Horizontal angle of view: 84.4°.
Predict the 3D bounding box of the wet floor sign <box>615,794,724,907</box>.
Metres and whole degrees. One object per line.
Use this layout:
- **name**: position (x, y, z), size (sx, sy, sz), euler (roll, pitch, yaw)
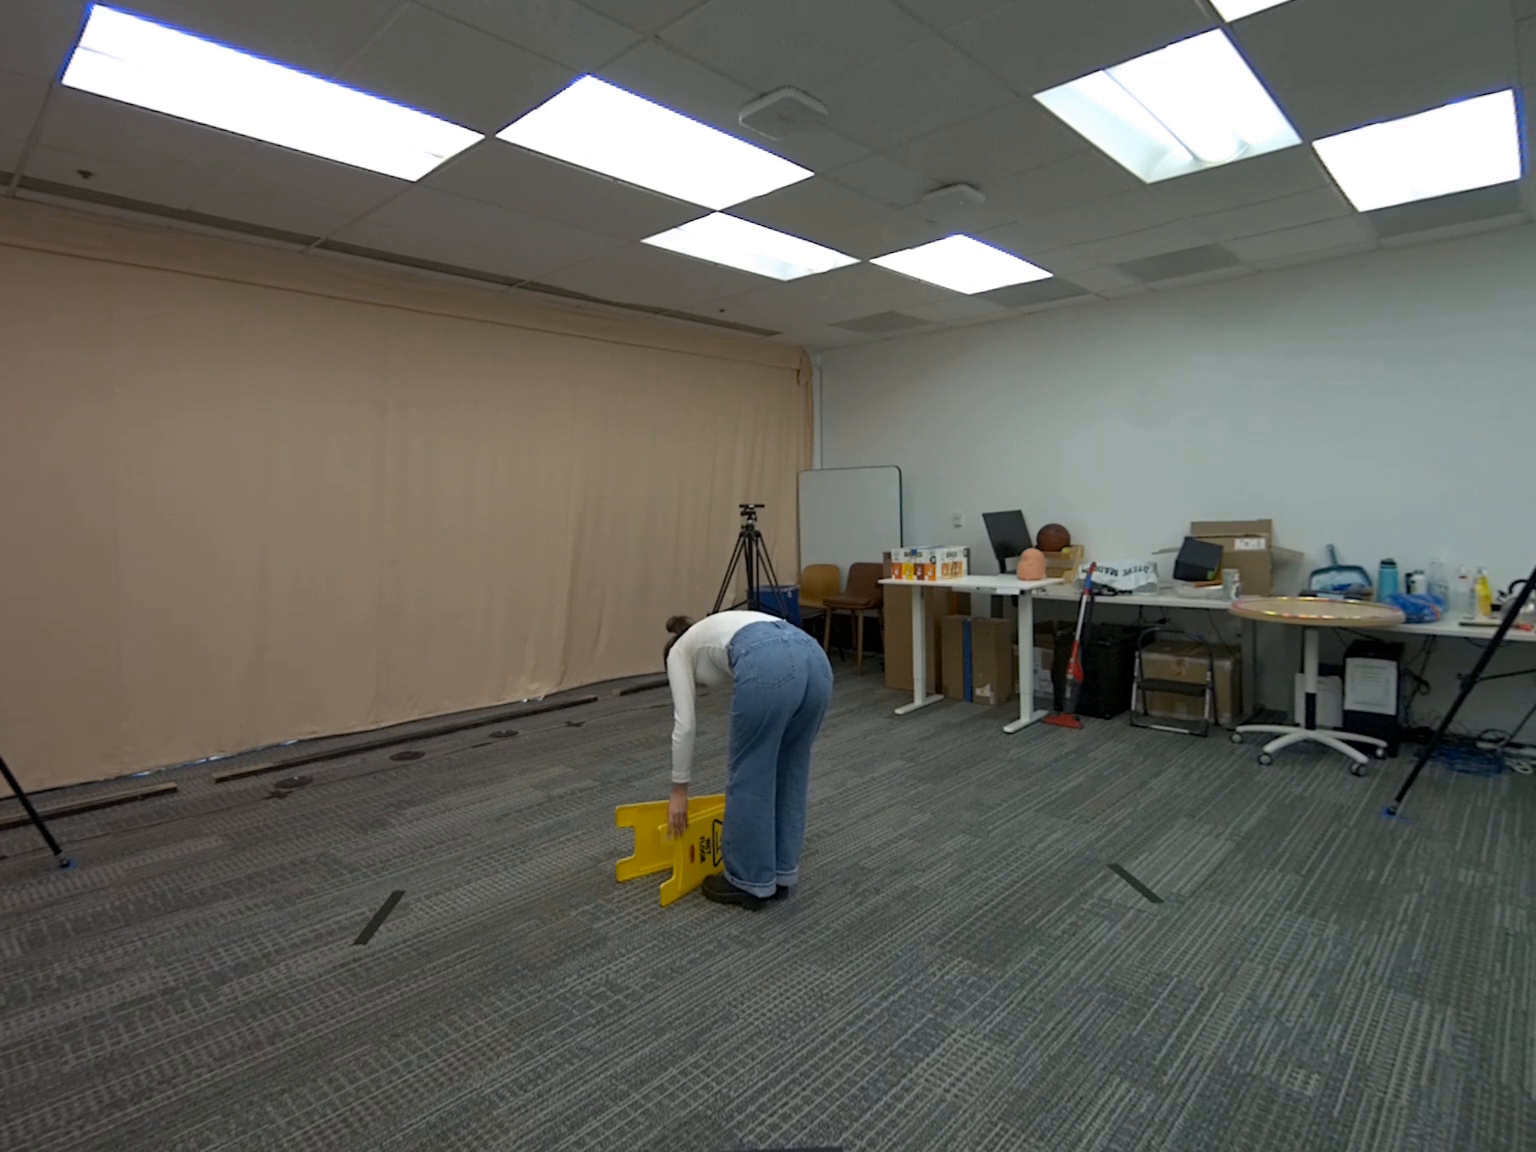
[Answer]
- **wet floor sign**: position (-0.233, 0.993, 3.229), size (0.626, 0.282, 0.299), euler (-3, 4, -40)
